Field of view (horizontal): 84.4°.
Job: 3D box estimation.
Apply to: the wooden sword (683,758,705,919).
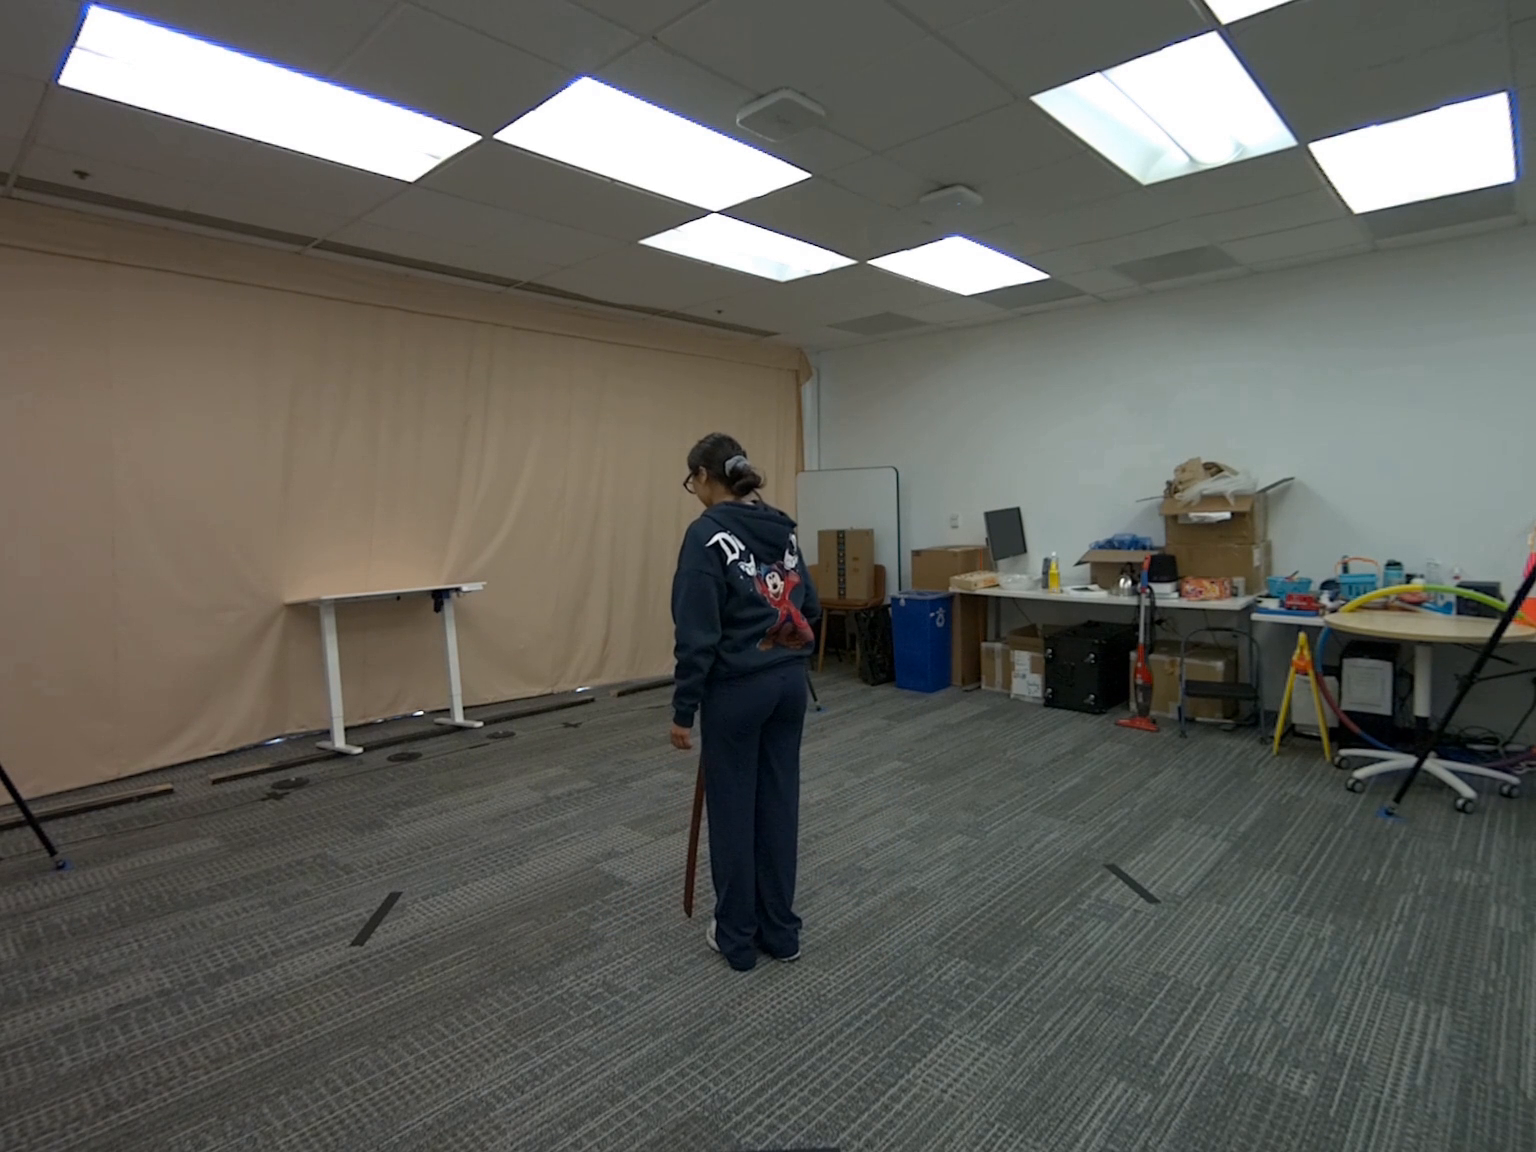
[{"bbox_3d":[-0.221,0.658,2.873,0.052,1.027,0.023,3,-4,17],"label":"wooden sword"}]
